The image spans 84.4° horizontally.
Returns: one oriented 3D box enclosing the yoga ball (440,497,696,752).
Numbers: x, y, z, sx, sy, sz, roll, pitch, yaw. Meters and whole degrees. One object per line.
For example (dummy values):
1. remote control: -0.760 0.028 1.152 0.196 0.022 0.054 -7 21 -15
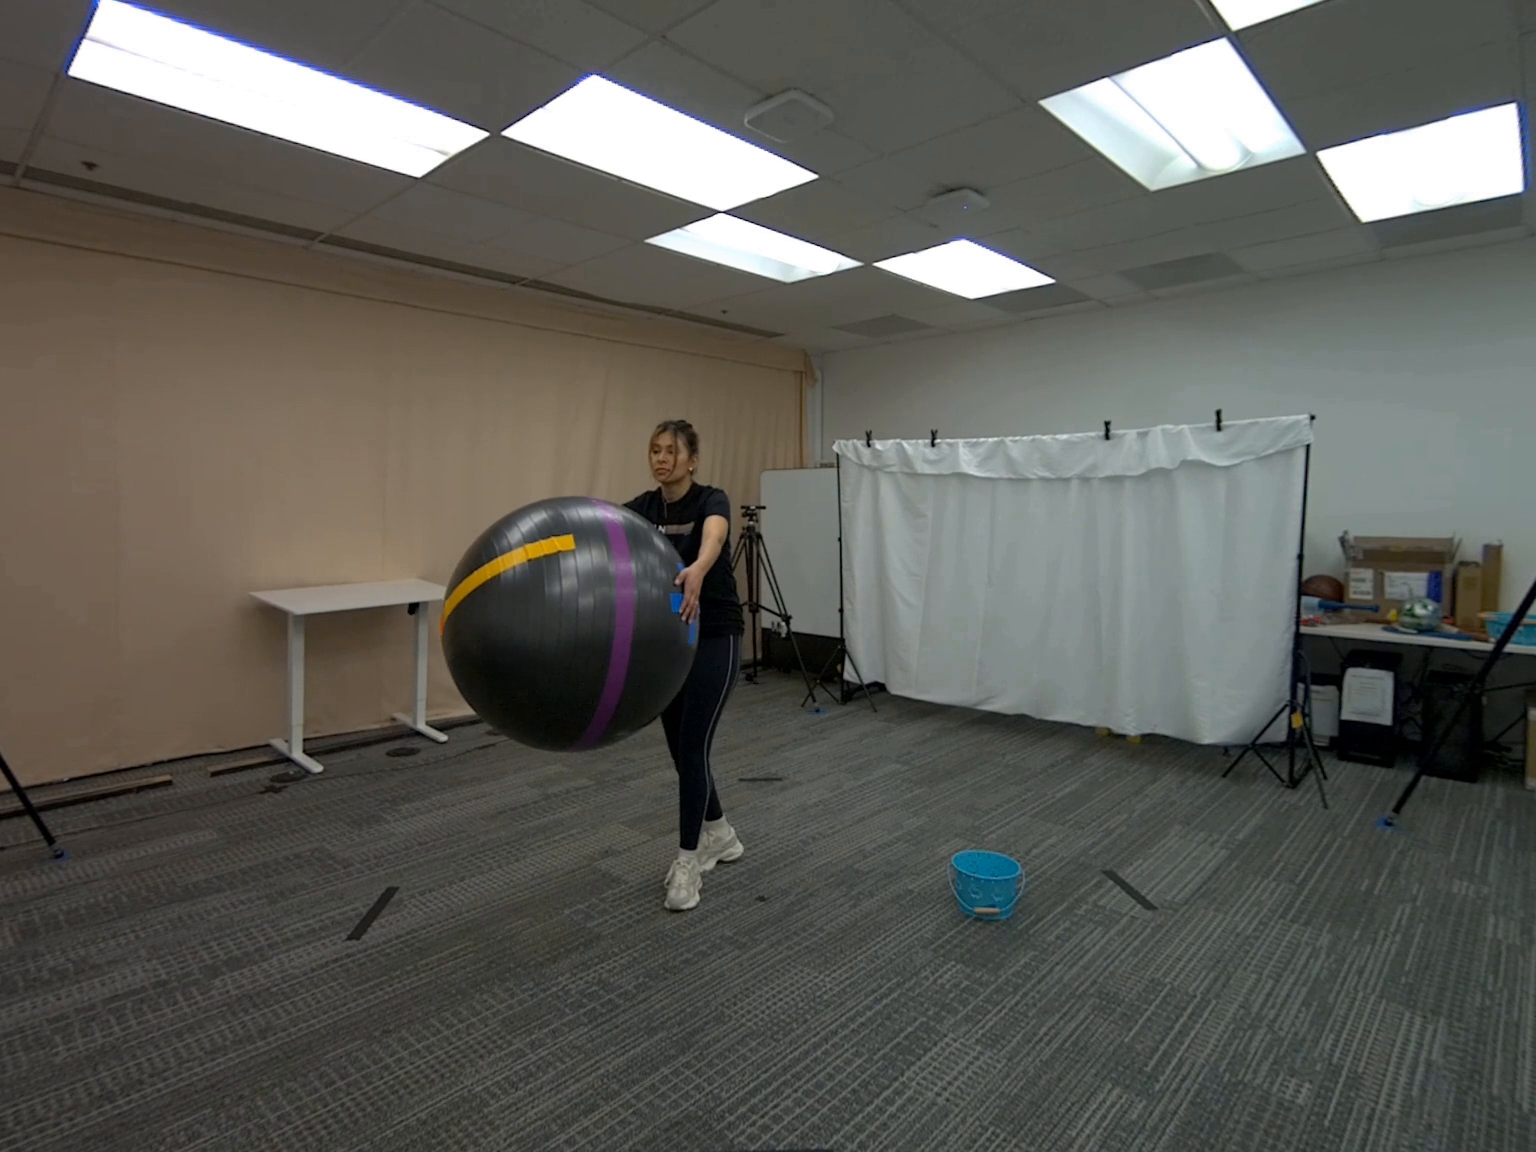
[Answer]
1. yoga ball: -0.584 0.152 2.522 0.757 0.756 0.761 0 4 -2
